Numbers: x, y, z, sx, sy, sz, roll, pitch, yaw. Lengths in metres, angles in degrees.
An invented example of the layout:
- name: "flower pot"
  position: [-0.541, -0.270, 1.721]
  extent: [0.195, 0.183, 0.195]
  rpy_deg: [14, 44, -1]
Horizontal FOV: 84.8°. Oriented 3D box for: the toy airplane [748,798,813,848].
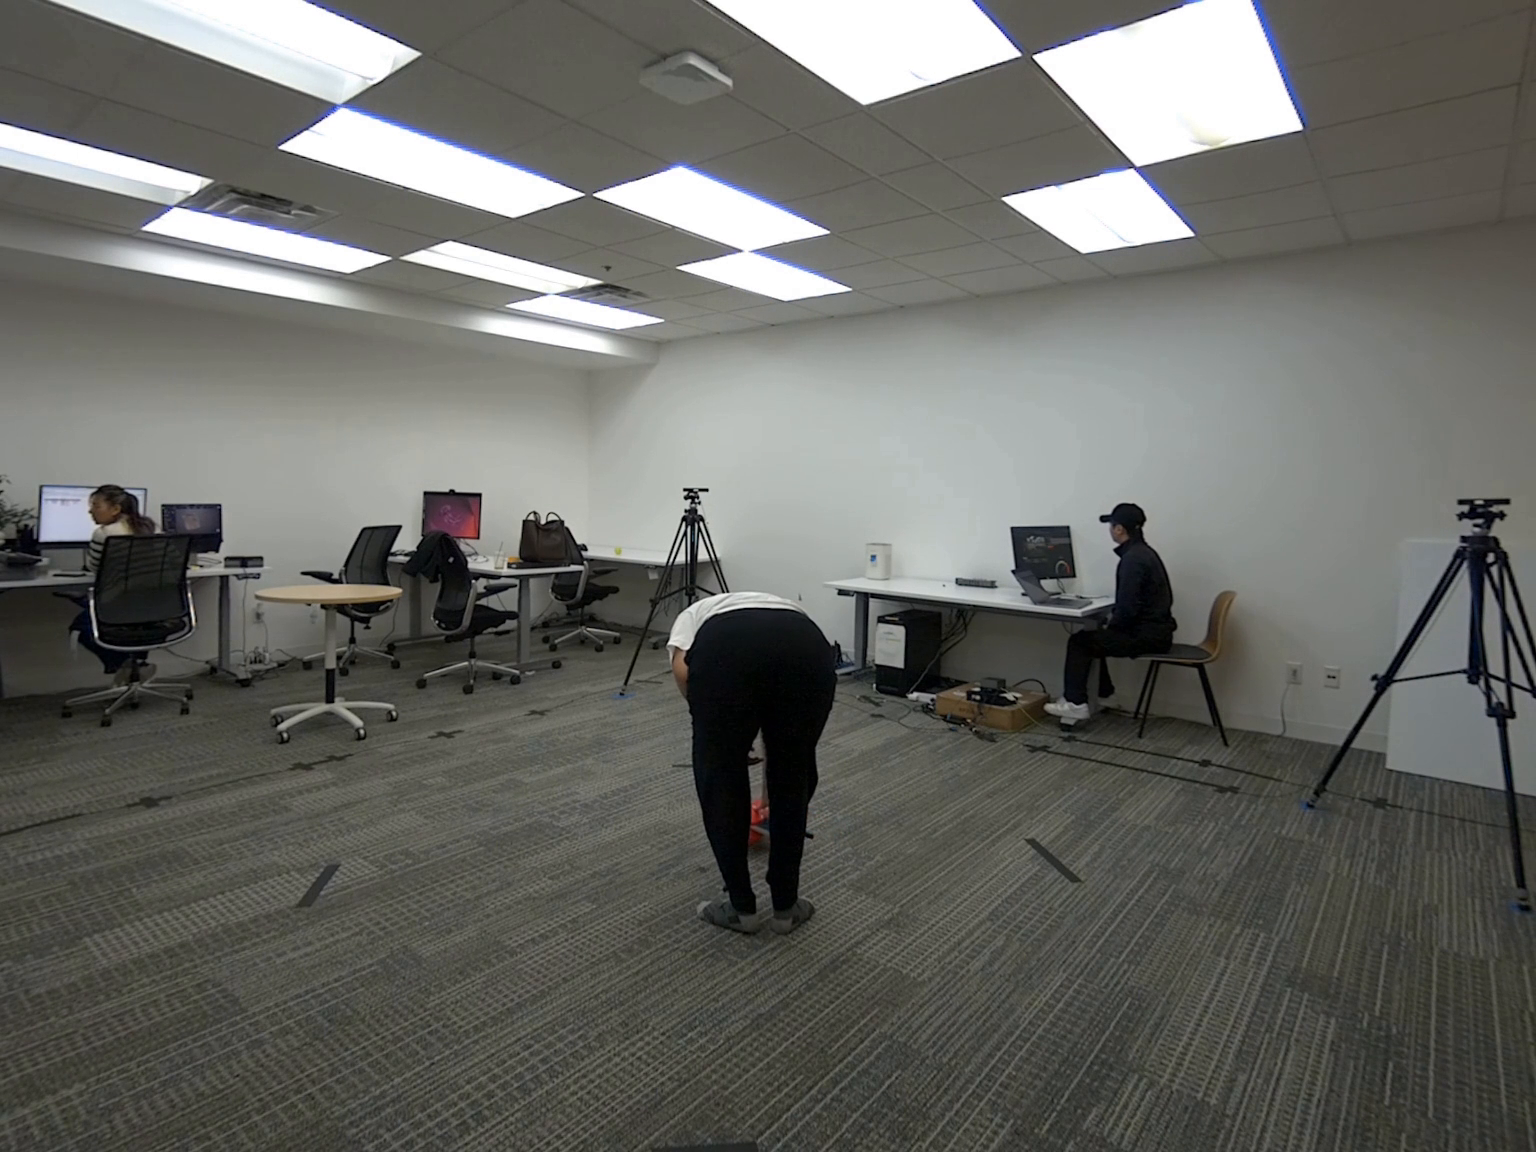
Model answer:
- name: "toy airplane"
  position: [-0.002, 0.972, 3.330]
  extent: [0.259, 0.156, 0.252]
  rpy_deg: [-1, 4, -2]
